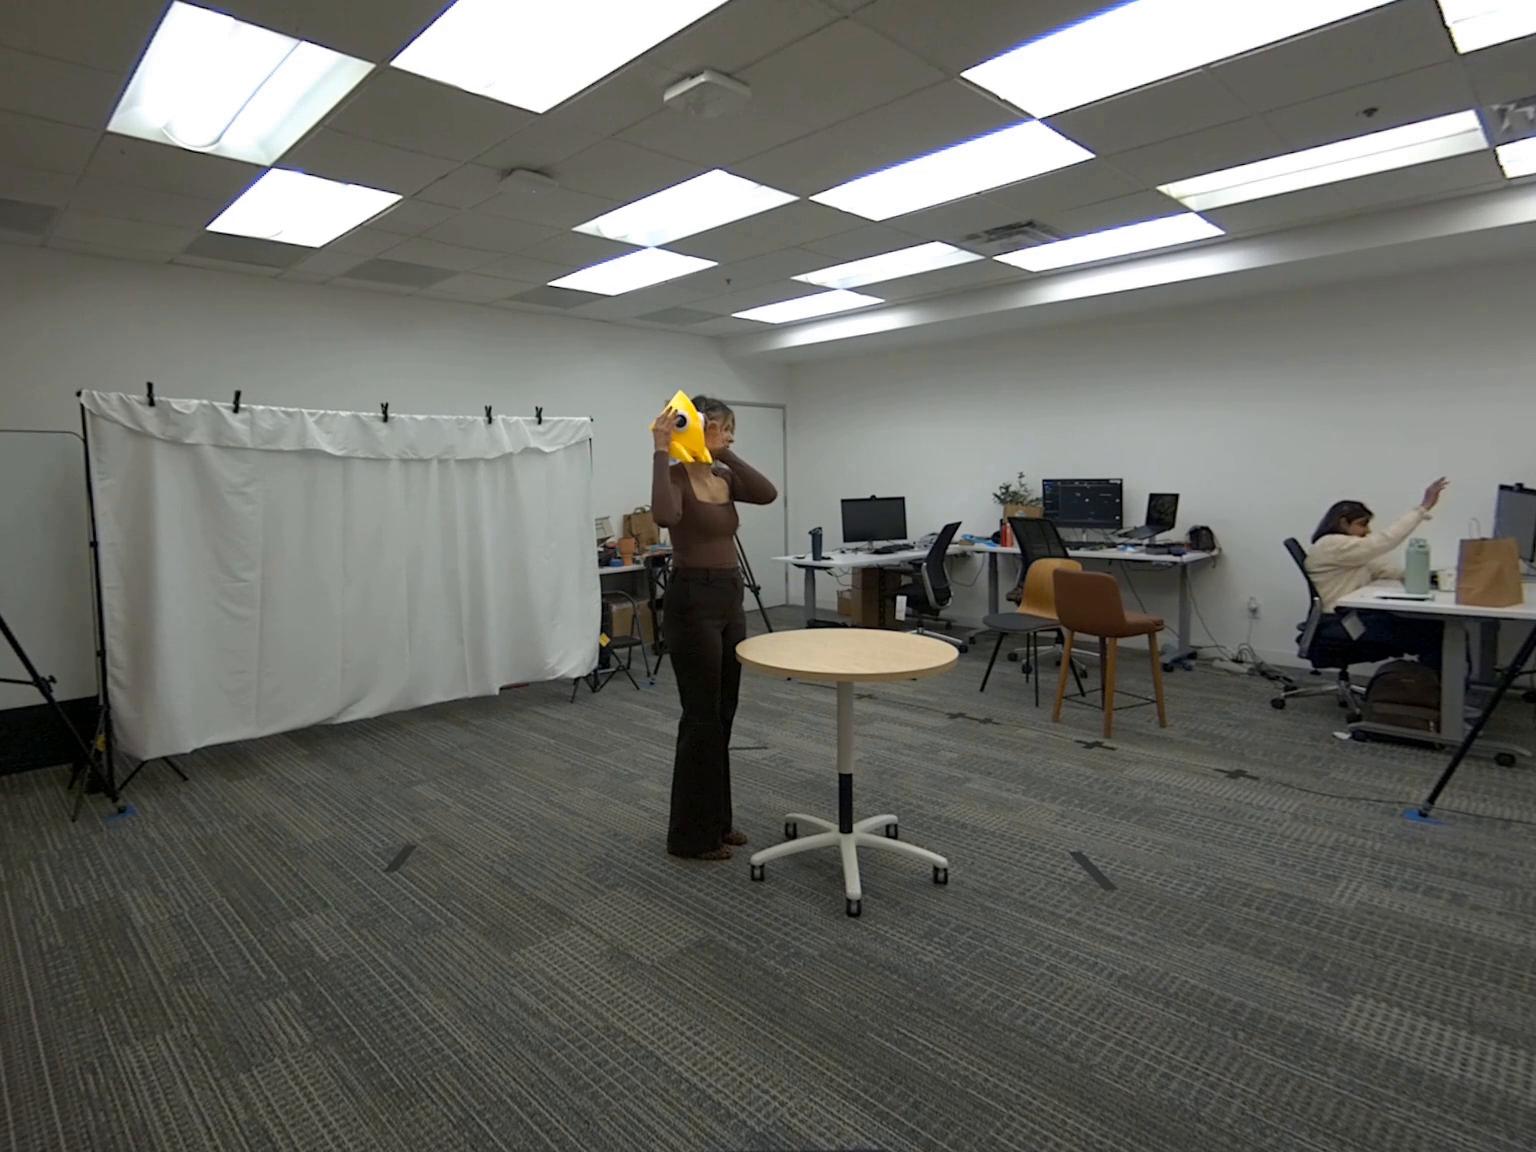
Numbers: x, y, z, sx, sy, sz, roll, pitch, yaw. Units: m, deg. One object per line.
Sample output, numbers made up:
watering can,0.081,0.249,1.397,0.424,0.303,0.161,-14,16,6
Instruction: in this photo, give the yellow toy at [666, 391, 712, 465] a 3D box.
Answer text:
yellow toy,-0.286,-0.533,3.038,0.199,0.229,0.200,19,14,30
